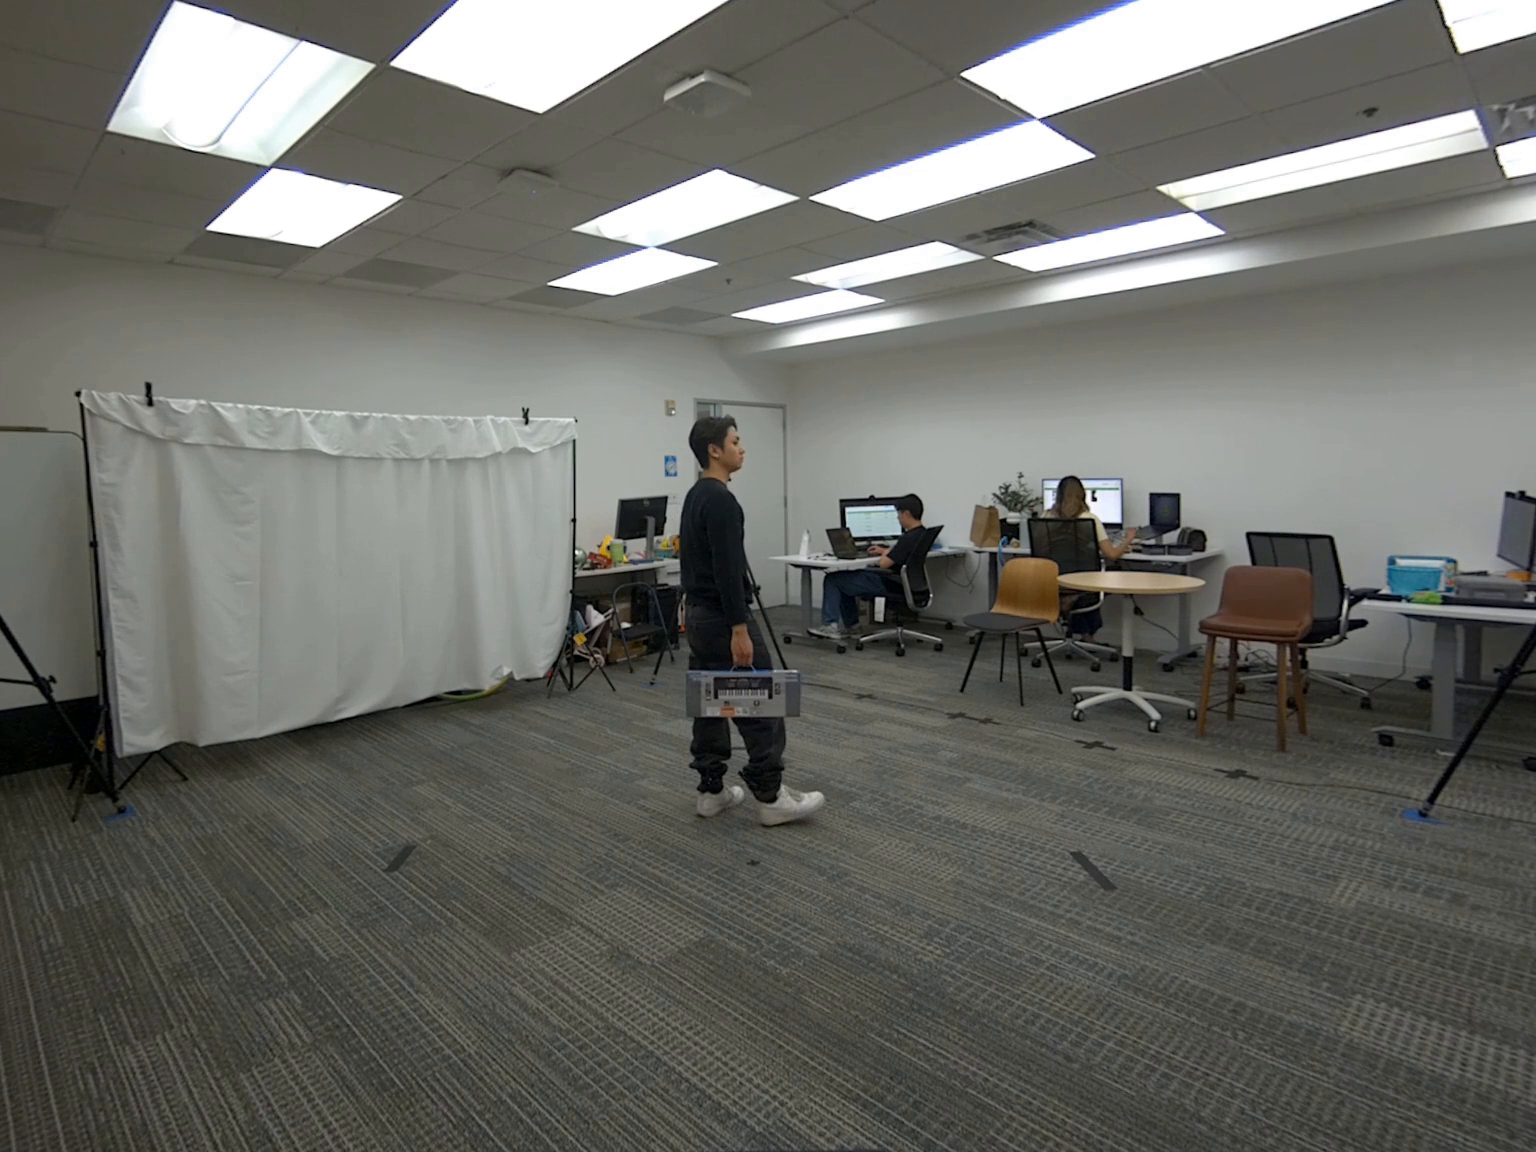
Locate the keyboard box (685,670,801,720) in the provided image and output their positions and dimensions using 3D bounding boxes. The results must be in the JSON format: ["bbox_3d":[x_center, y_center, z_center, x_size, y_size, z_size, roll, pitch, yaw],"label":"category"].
[{"bbox_3d":[-0.093,0.450,3.301,0.437,0.176,0.059,0,1,0],"label":"keyboard box"}]
